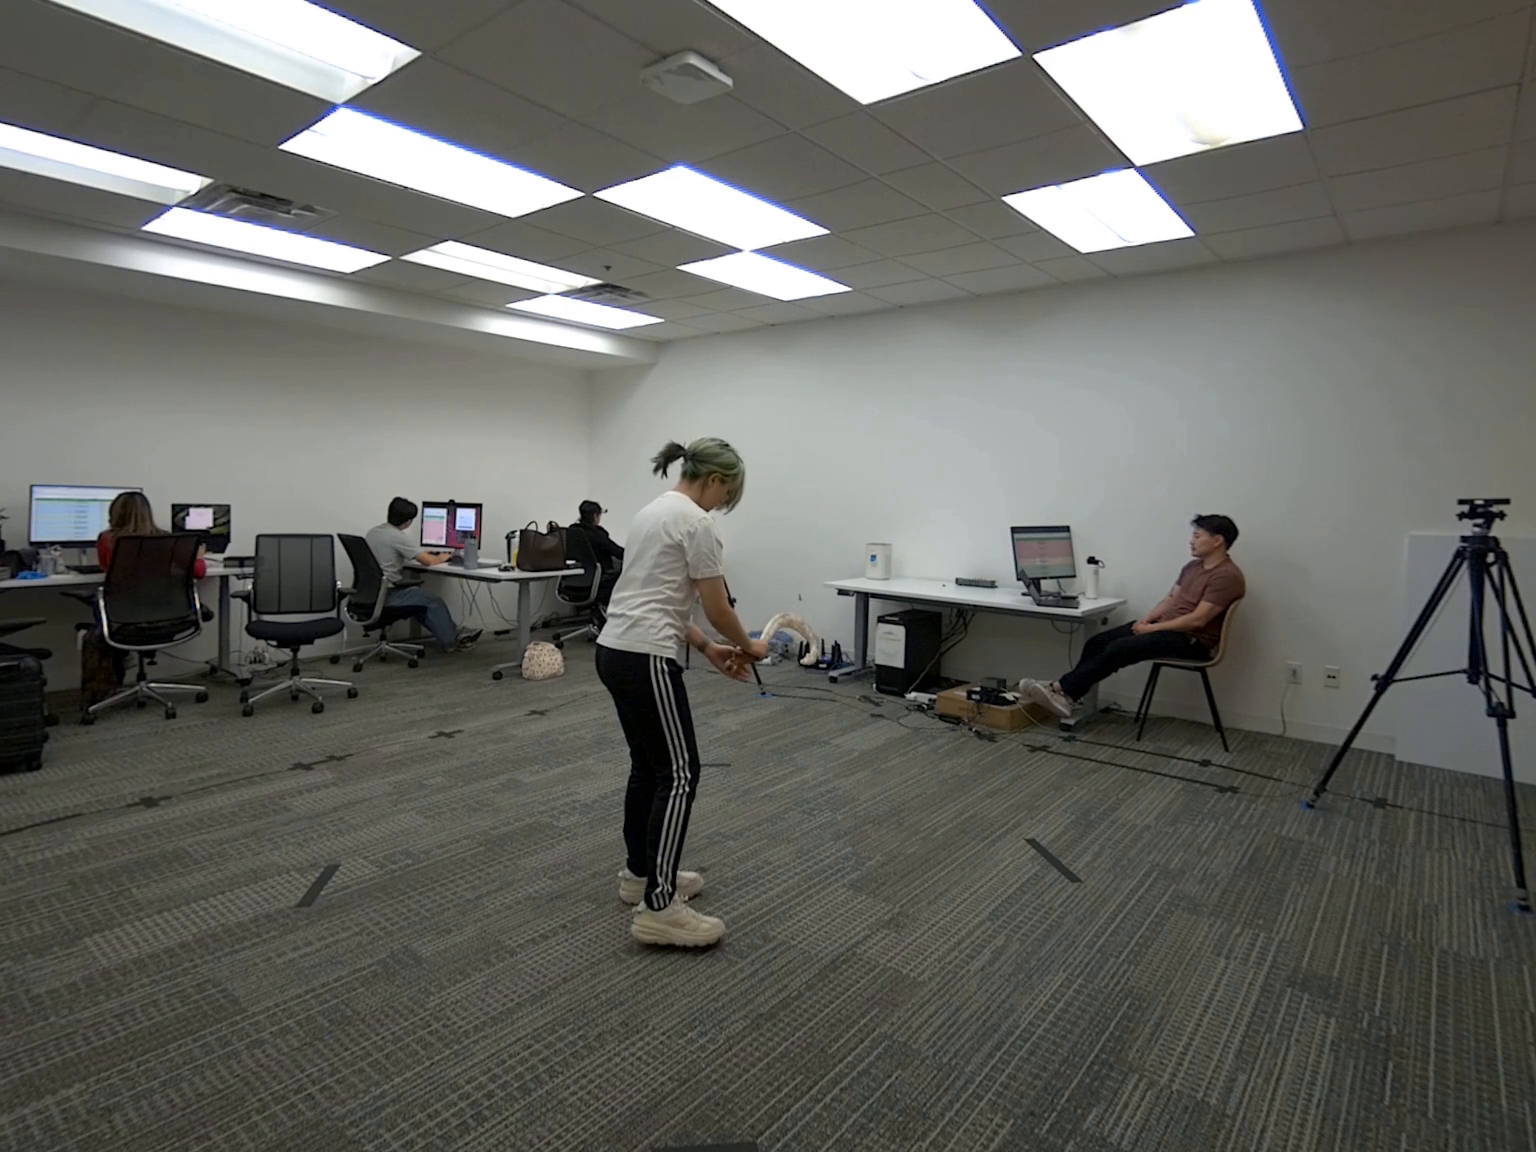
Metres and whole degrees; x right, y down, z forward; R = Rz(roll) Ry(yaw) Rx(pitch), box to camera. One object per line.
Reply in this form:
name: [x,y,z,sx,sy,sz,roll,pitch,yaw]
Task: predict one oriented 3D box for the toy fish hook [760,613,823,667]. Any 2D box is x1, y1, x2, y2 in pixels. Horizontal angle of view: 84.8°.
toy fish hook: [0.030,0.276,3.047,0.230,0.048,0.500,39,36,15]
